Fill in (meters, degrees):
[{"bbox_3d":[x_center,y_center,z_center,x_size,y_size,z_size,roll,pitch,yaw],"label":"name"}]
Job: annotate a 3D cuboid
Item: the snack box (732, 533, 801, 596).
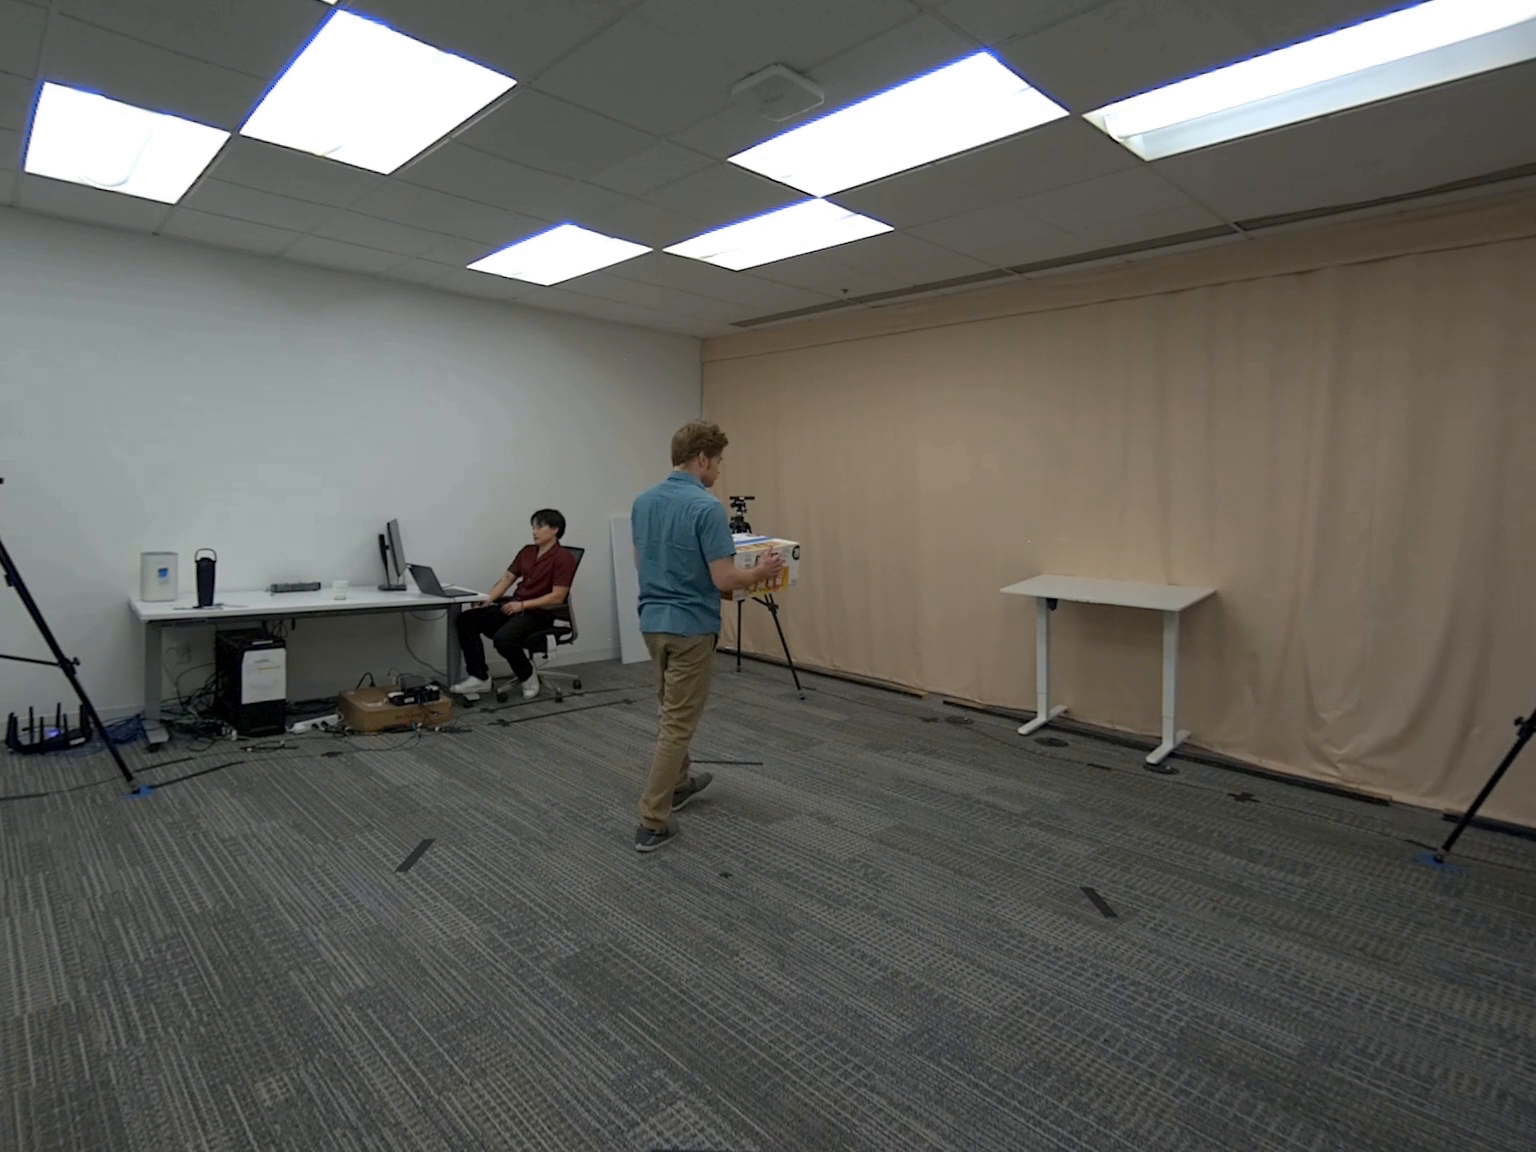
[{"bbox_3d":[-0.144,-0.049,3.641,0.350,0.204,0.397,12,15,41],"label":"snack box"}]
